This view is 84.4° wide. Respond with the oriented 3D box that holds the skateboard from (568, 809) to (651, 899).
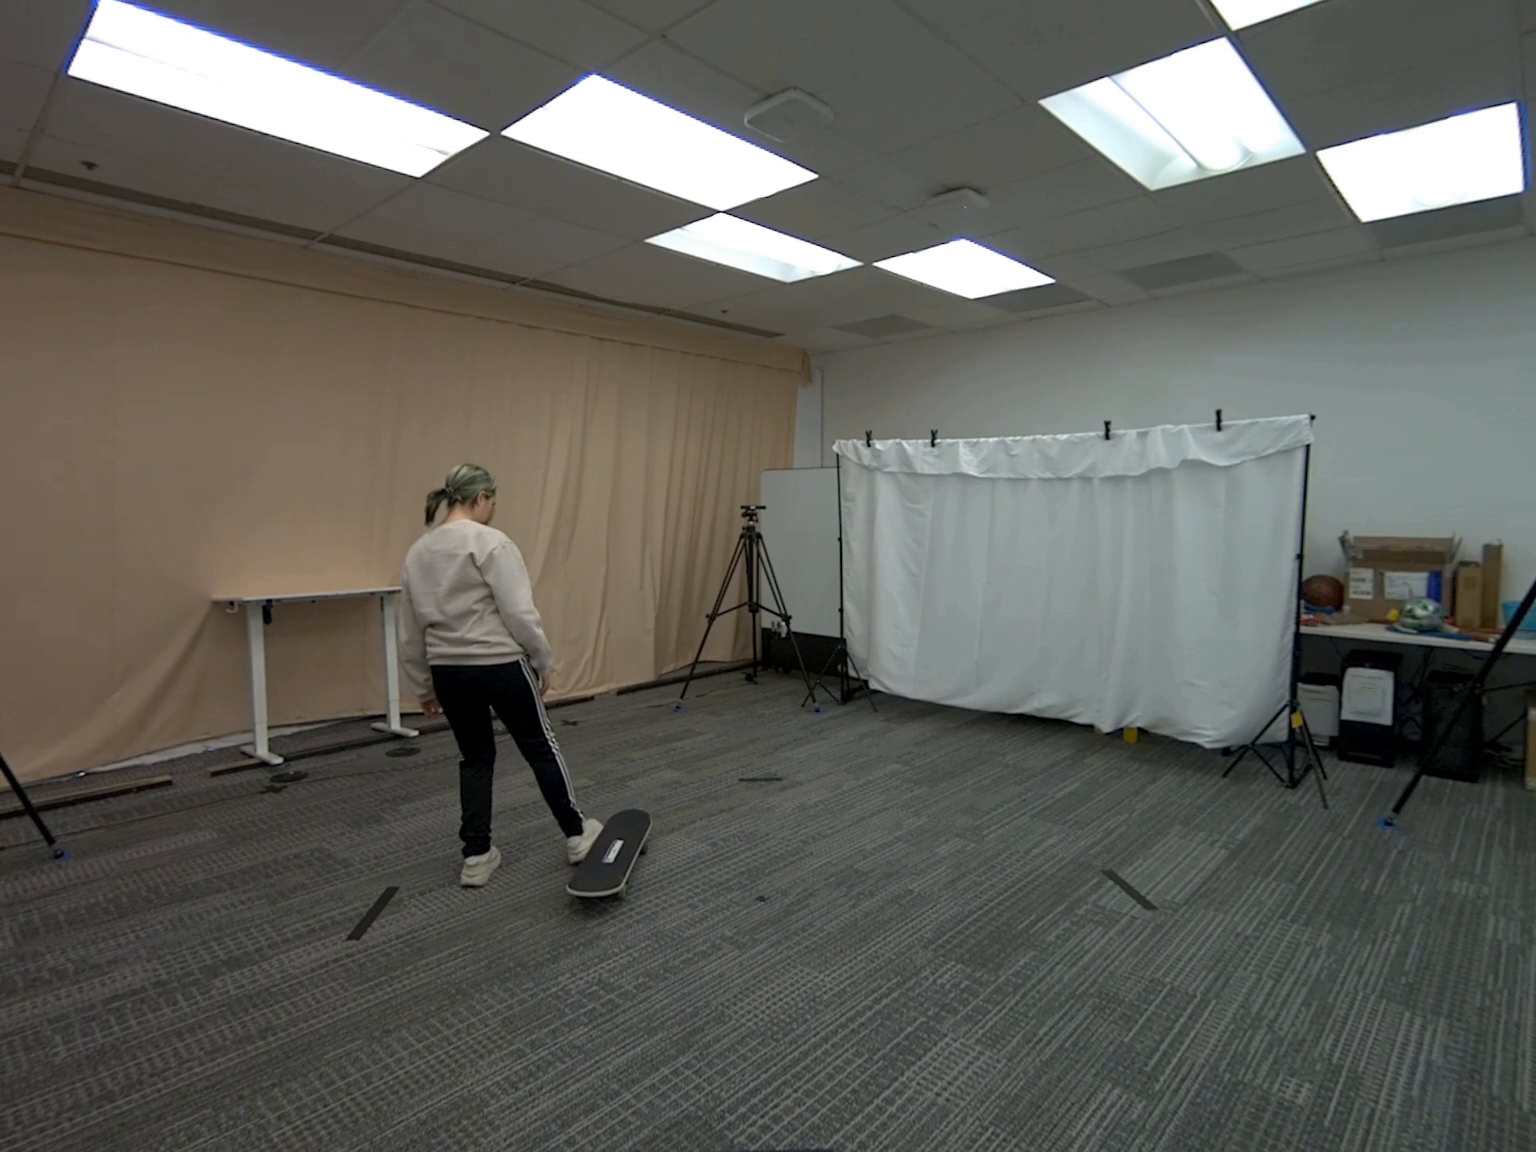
[{"bbox_3d":[-0.586,1.071,3.188,0.194,0.110,0.784,-1,5,3],"label":"skateboard"}]
